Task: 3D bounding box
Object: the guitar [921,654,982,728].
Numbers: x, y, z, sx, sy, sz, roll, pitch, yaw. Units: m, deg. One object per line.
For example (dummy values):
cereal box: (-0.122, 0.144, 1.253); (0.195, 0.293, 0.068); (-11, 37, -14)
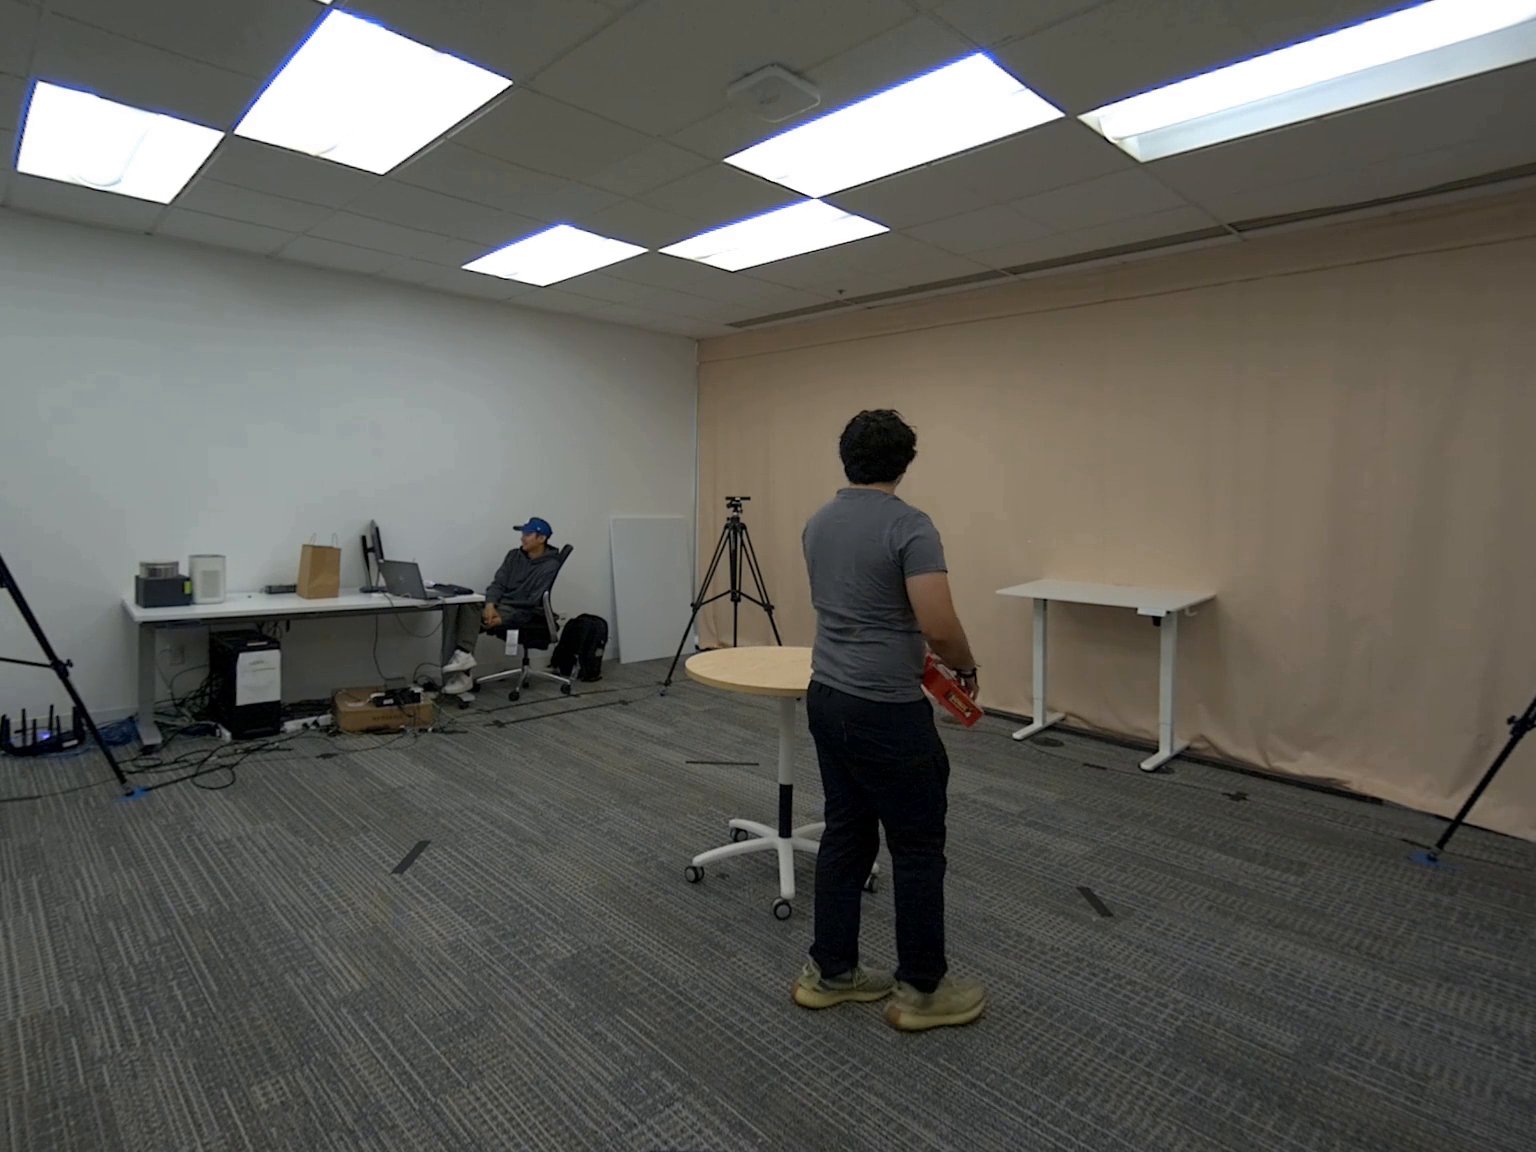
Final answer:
guitar: (0.515, 0.303, 2.482); (0.193, 0.071, 0.497); (44, 9, 0)
